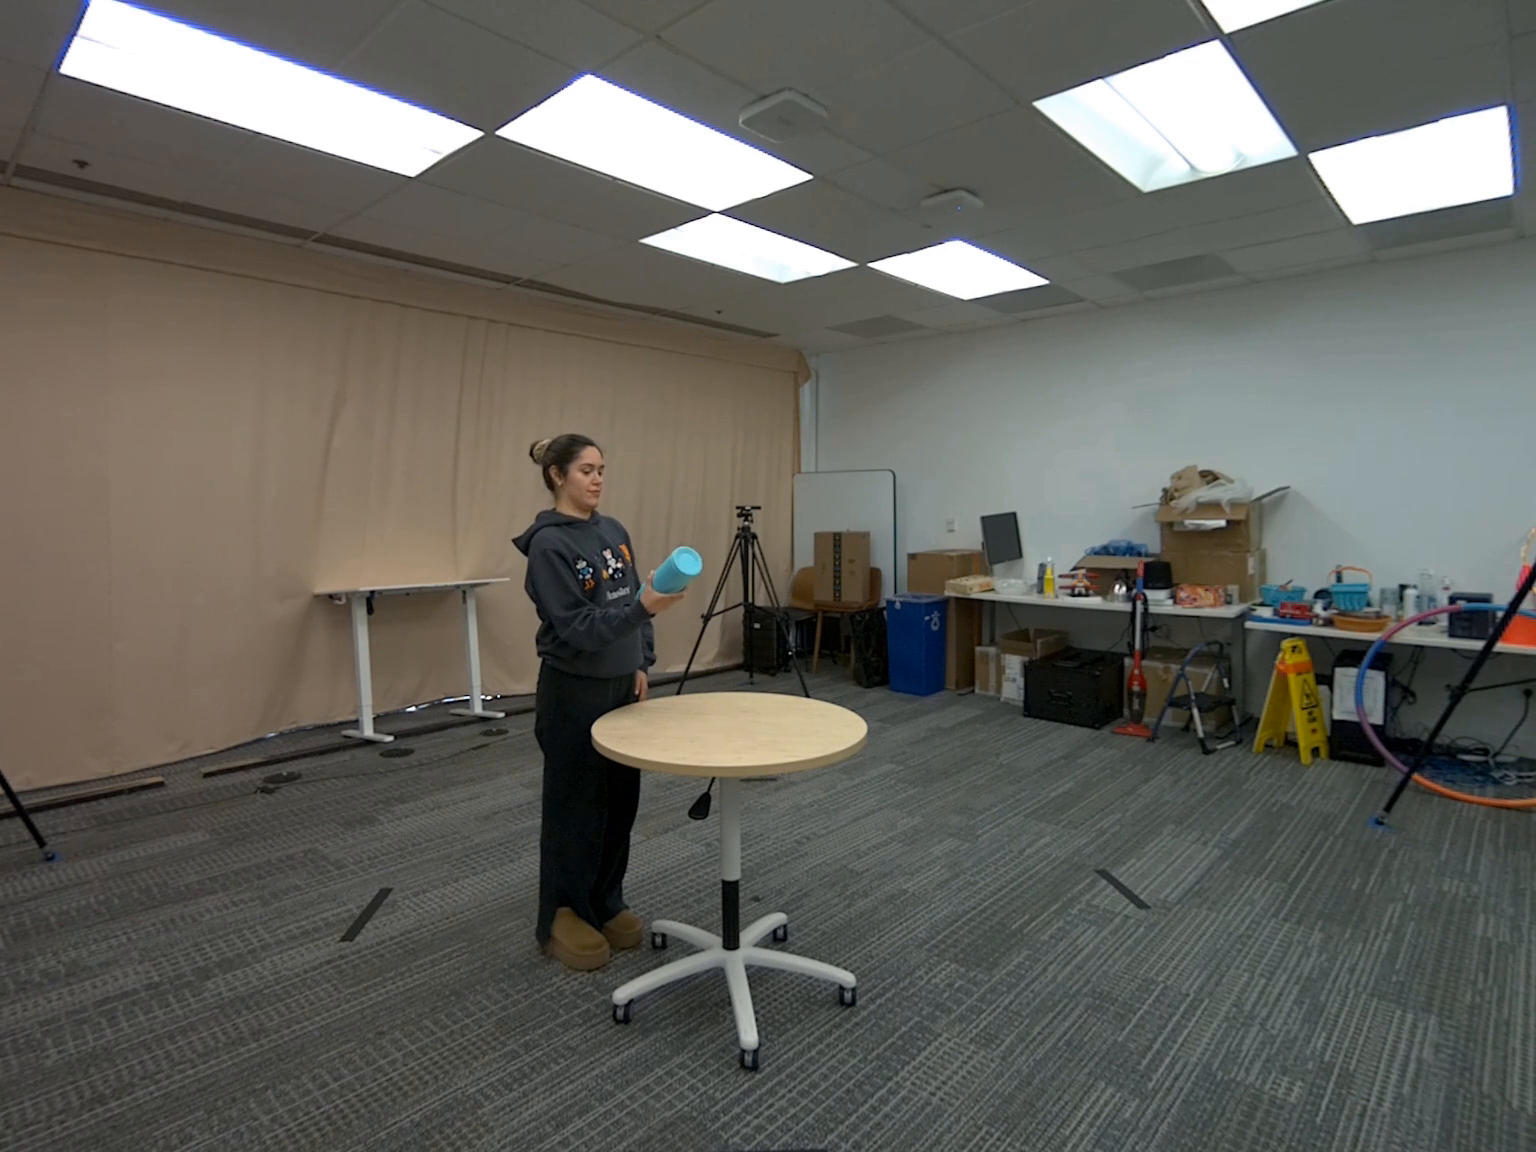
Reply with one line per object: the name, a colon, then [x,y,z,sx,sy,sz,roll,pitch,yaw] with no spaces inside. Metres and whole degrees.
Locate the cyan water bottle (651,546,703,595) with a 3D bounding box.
cyan water bottle: [-0.278,0.007,2.347,0.089,0.094,0.287,-3,-24,-37]
